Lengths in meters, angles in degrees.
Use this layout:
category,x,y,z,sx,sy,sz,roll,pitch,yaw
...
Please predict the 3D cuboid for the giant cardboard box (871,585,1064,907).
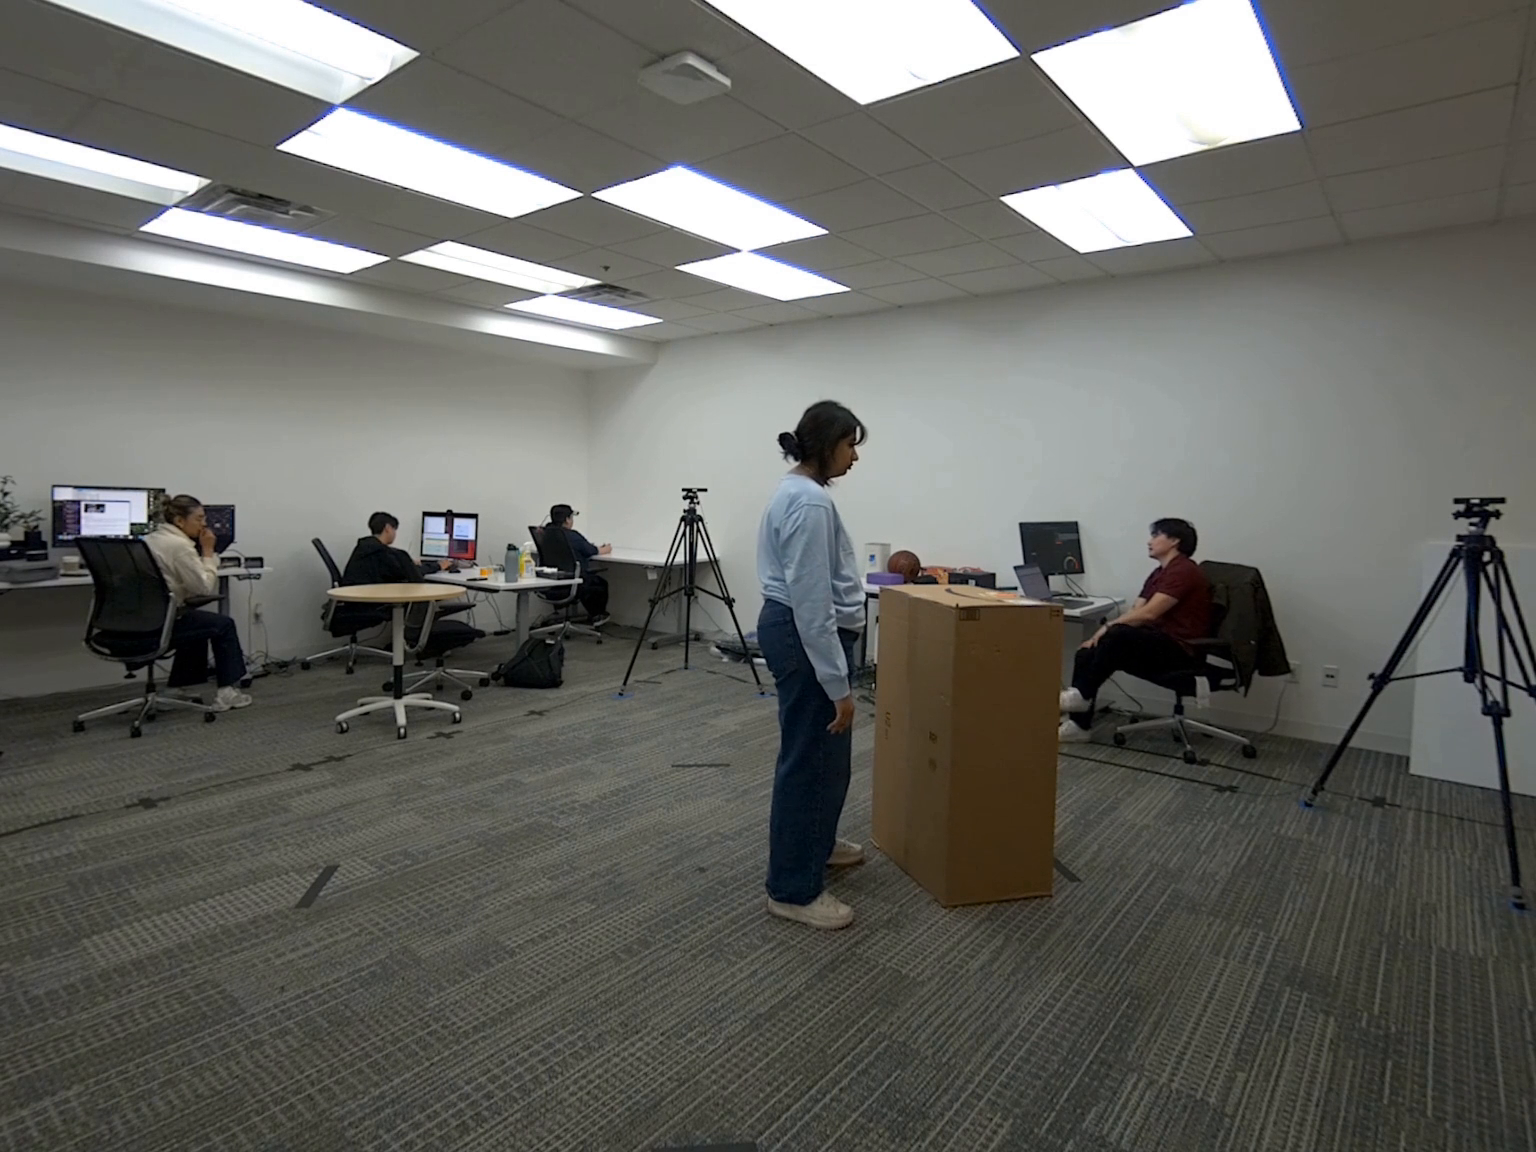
category,x,y,z,sx,sy,sz,roll,pitch,yaw
giant cardboard box,0.712,0.574,3.166,0.418,1.023,0.590,1,3,-18
